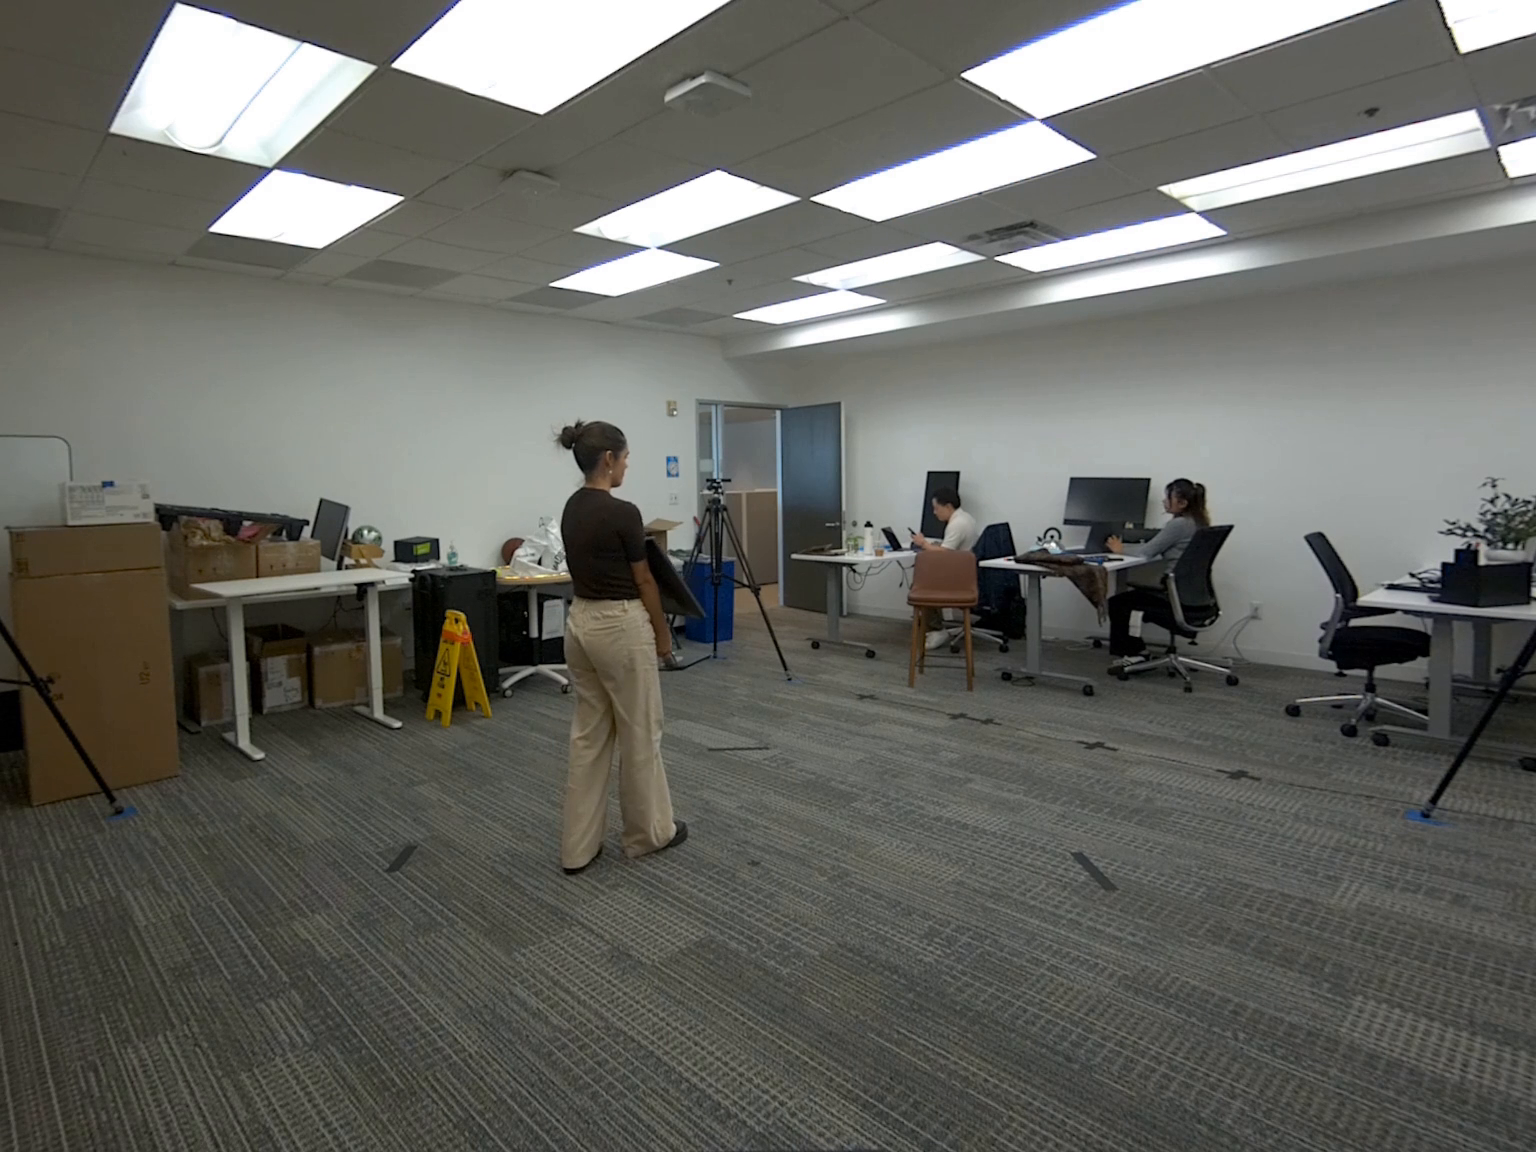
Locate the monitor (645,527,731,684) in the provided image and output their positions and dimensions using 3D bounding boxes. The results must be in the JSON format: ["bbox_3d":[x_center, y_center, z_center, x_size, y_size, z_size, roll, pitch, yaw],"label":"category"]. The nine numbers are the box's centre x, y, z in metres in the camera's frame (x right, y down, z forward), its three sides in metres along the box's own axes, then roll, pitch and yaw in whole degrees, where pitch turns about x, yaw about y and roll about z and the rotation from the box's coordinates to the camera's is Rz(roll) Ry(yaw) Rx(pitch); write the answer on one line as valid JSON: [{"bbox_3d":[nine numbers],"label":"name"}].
[{"bbox_3d":[-0.429,0.100,3.300,0.185,0.518,0.551,-23,9,-26],"label":"monitor"}]
